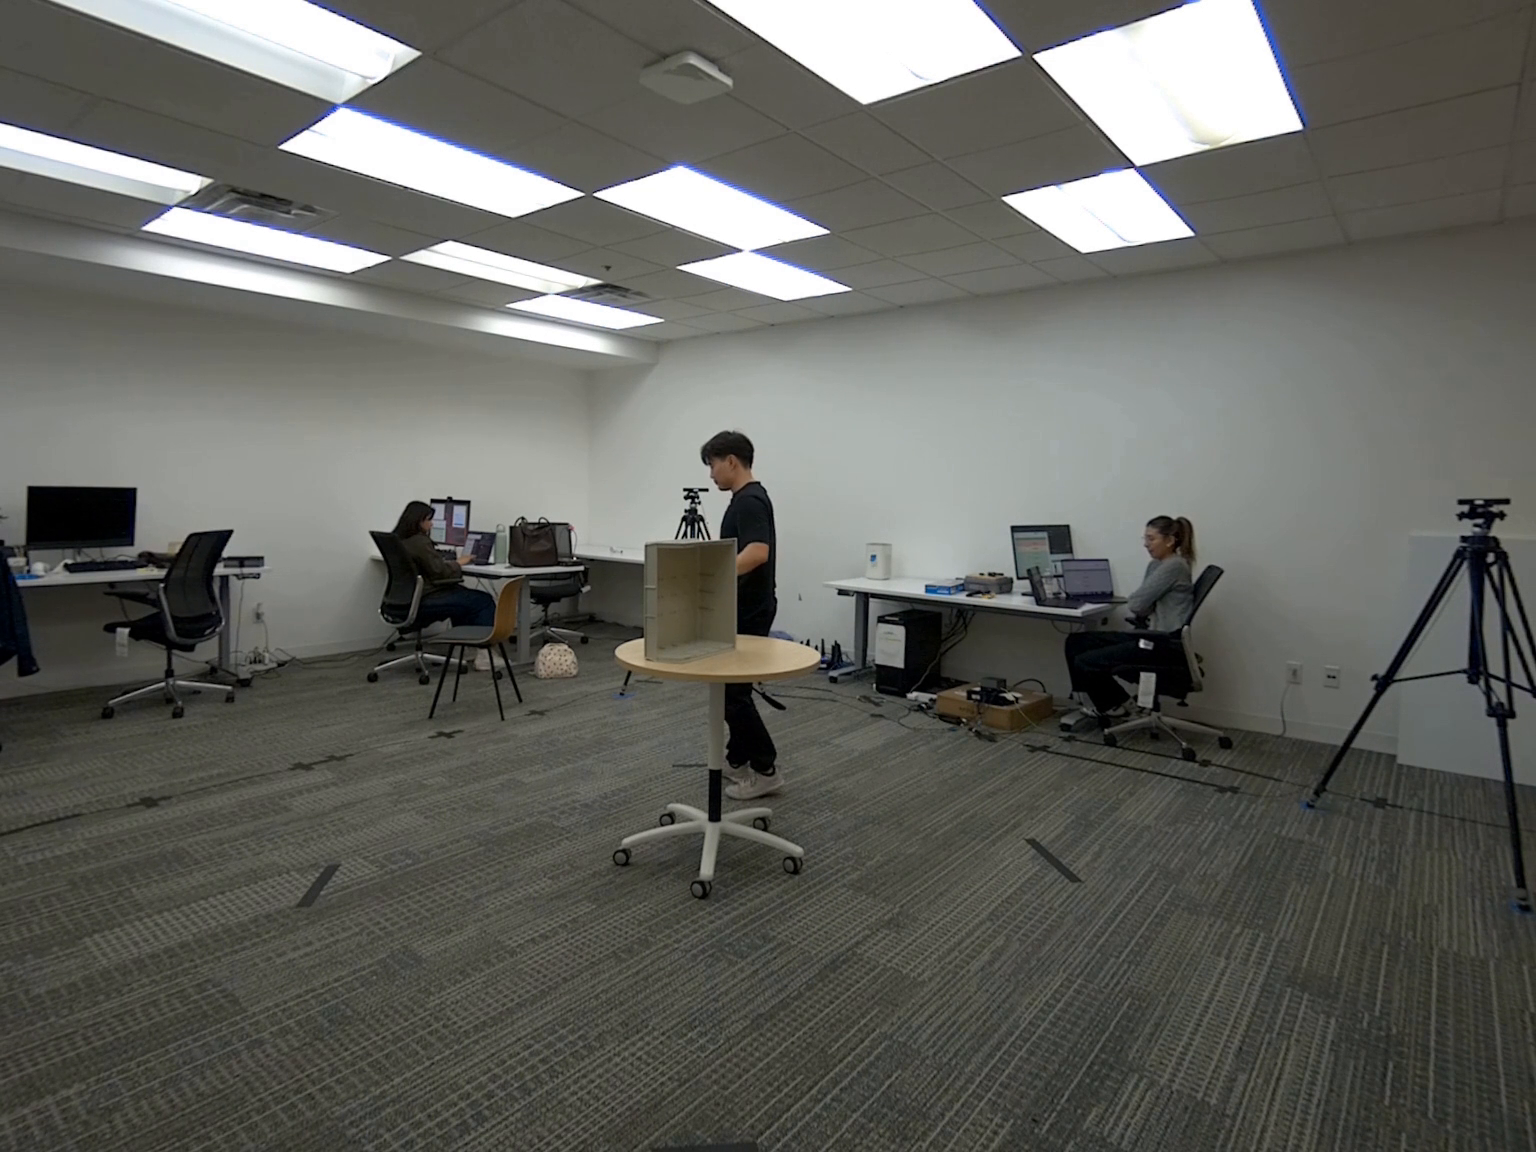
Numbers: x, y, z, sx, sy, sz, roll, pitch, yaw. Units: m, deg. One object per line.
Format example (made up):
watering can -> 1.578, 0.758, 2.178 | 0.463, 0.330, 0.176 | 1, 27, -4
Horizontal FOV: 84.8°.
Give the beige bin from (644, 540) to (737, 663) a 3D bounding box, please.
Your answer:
beige bin -> -0.299, 0.074, 3.122 | 0.194, 0.421, 0.367 | 1, 4, 32
